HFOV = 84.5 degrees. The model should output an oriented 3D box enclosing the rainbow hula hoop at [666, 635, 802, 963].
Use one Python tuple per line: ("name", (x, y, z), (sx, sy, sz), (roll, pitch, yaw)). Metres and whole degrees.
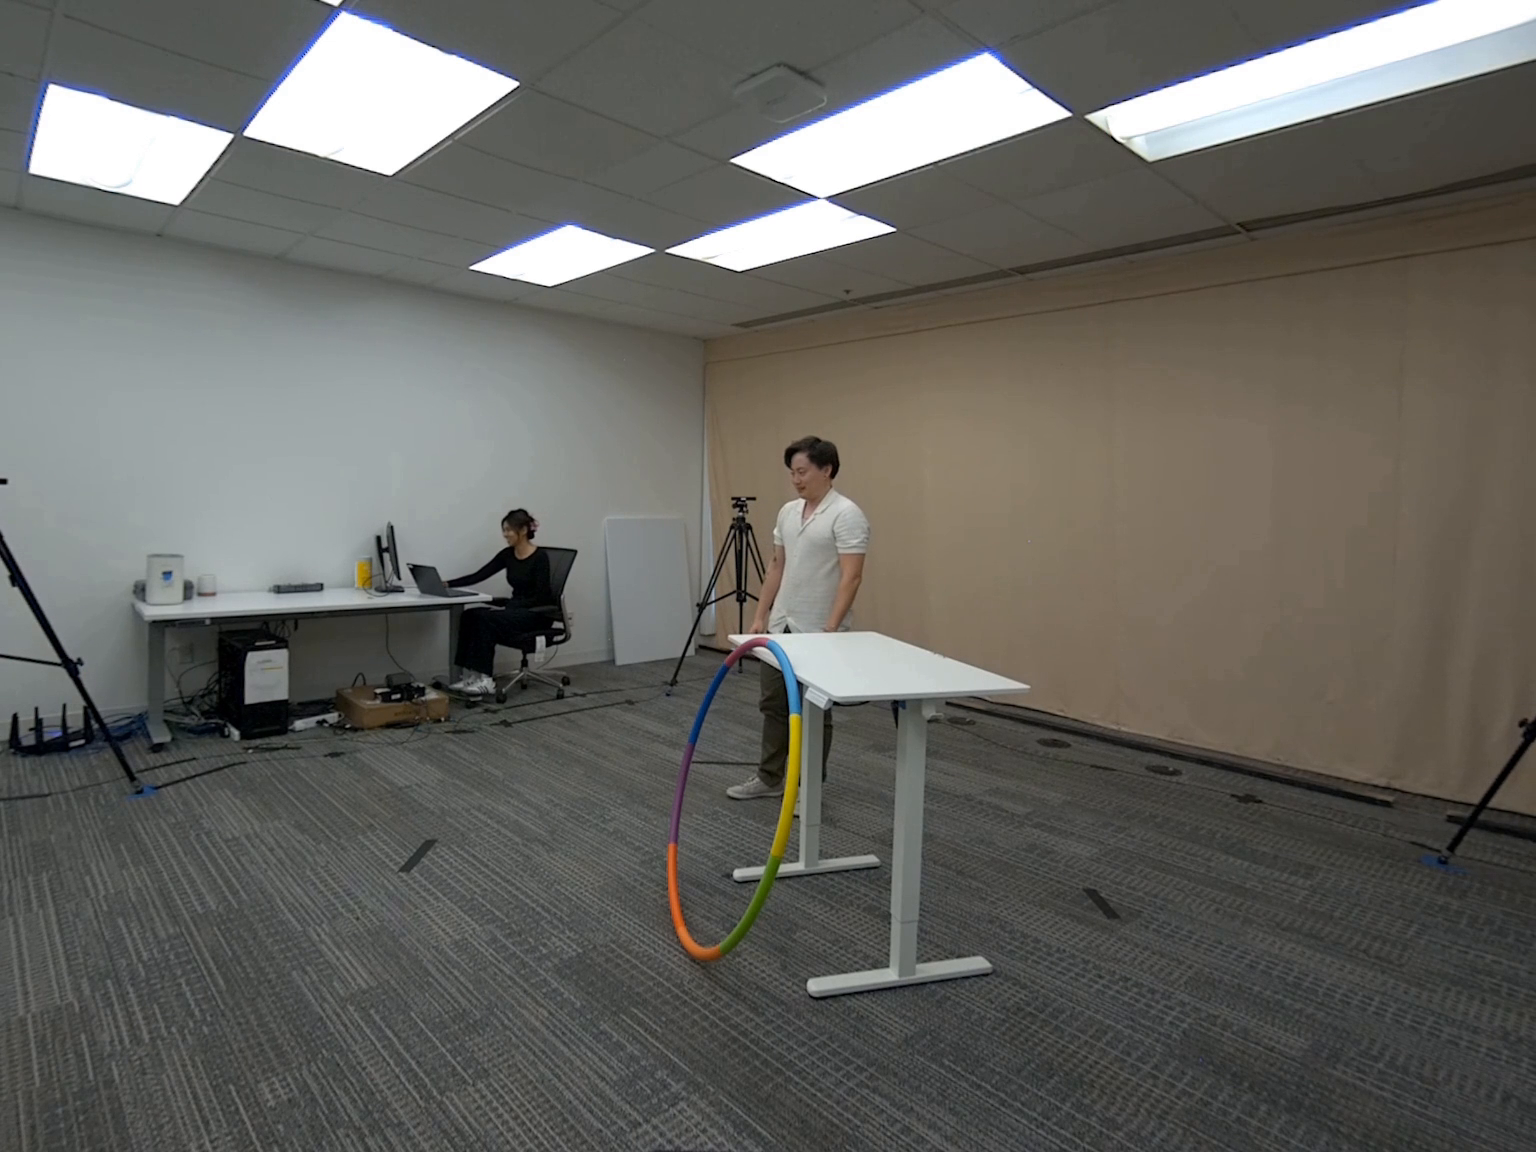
("rainbow hula hoop", (-0.145, 0.684, 2.657), (0.035, 0.979, 0.995), (17, -1, -19))
